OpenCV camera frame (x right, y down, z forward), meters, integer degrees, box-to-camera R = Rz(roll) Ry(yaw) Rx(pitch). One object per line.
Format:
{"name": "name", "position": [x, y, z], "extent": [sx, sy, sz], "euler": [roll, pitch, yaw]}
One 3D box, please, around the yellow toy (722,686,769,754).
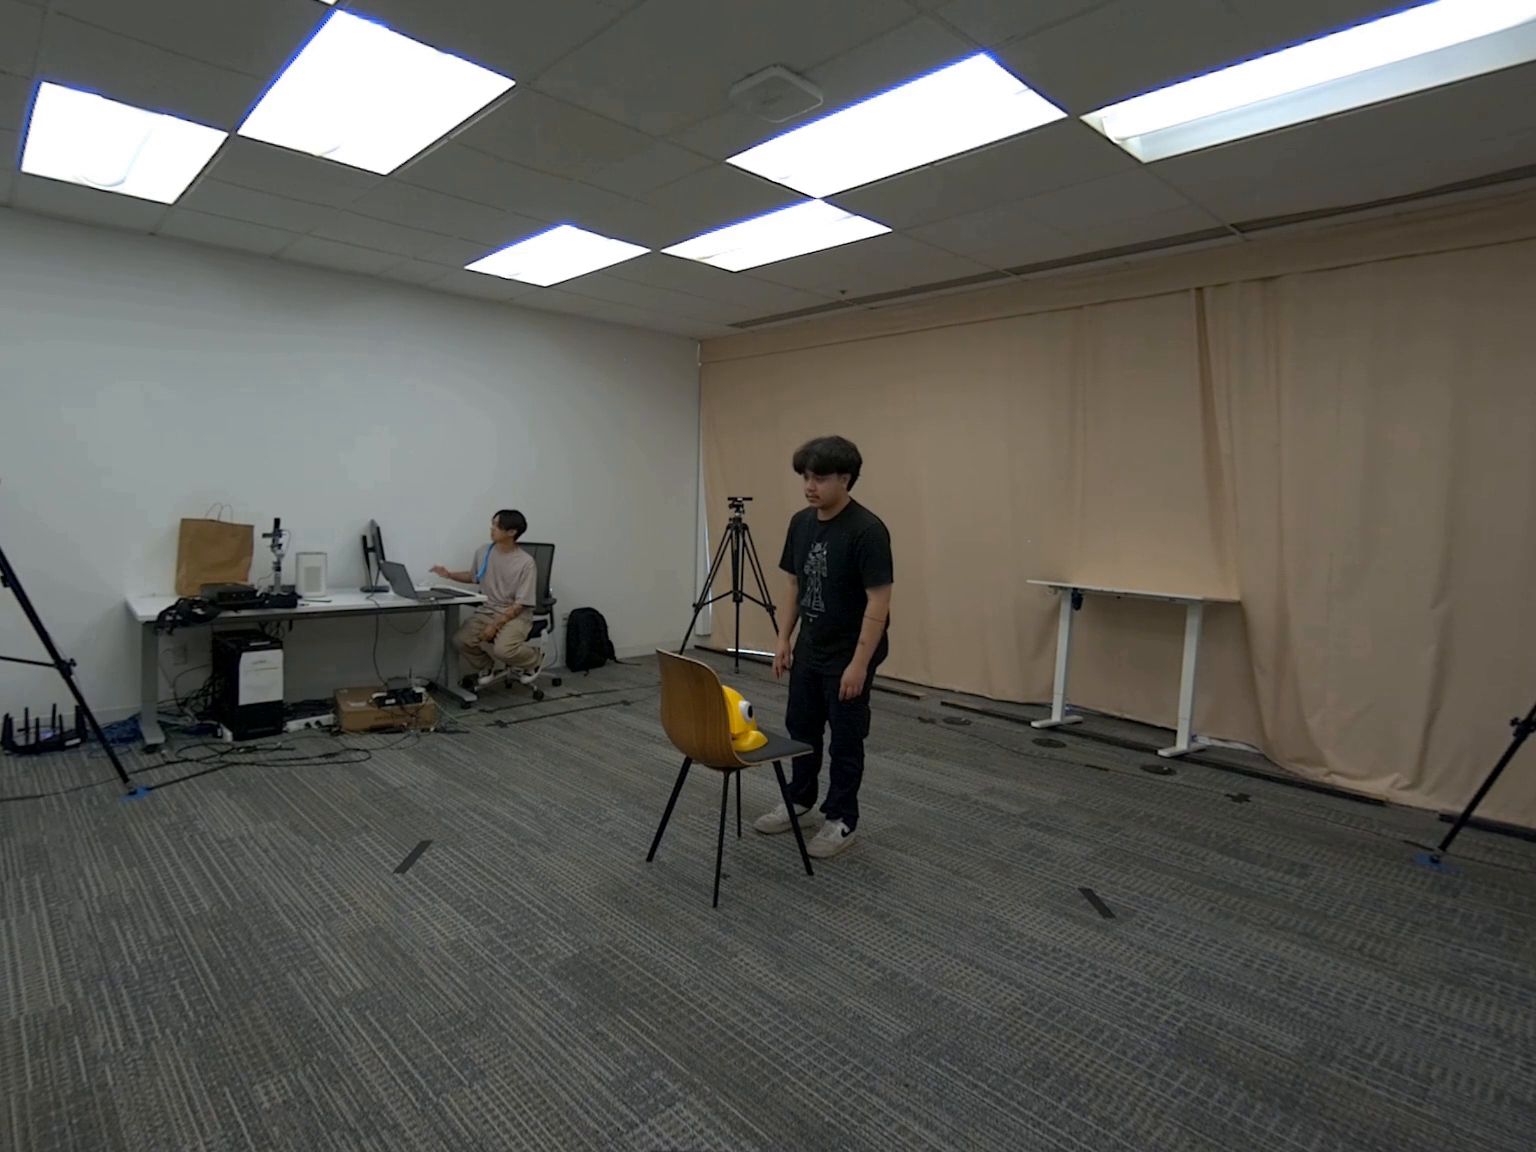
{"name": "yellow toy", "position": [-0.127, 0.513, 3.145], "extent": [0.189, 0.229, 0.210], "euler": [-8, 8, -39]}
